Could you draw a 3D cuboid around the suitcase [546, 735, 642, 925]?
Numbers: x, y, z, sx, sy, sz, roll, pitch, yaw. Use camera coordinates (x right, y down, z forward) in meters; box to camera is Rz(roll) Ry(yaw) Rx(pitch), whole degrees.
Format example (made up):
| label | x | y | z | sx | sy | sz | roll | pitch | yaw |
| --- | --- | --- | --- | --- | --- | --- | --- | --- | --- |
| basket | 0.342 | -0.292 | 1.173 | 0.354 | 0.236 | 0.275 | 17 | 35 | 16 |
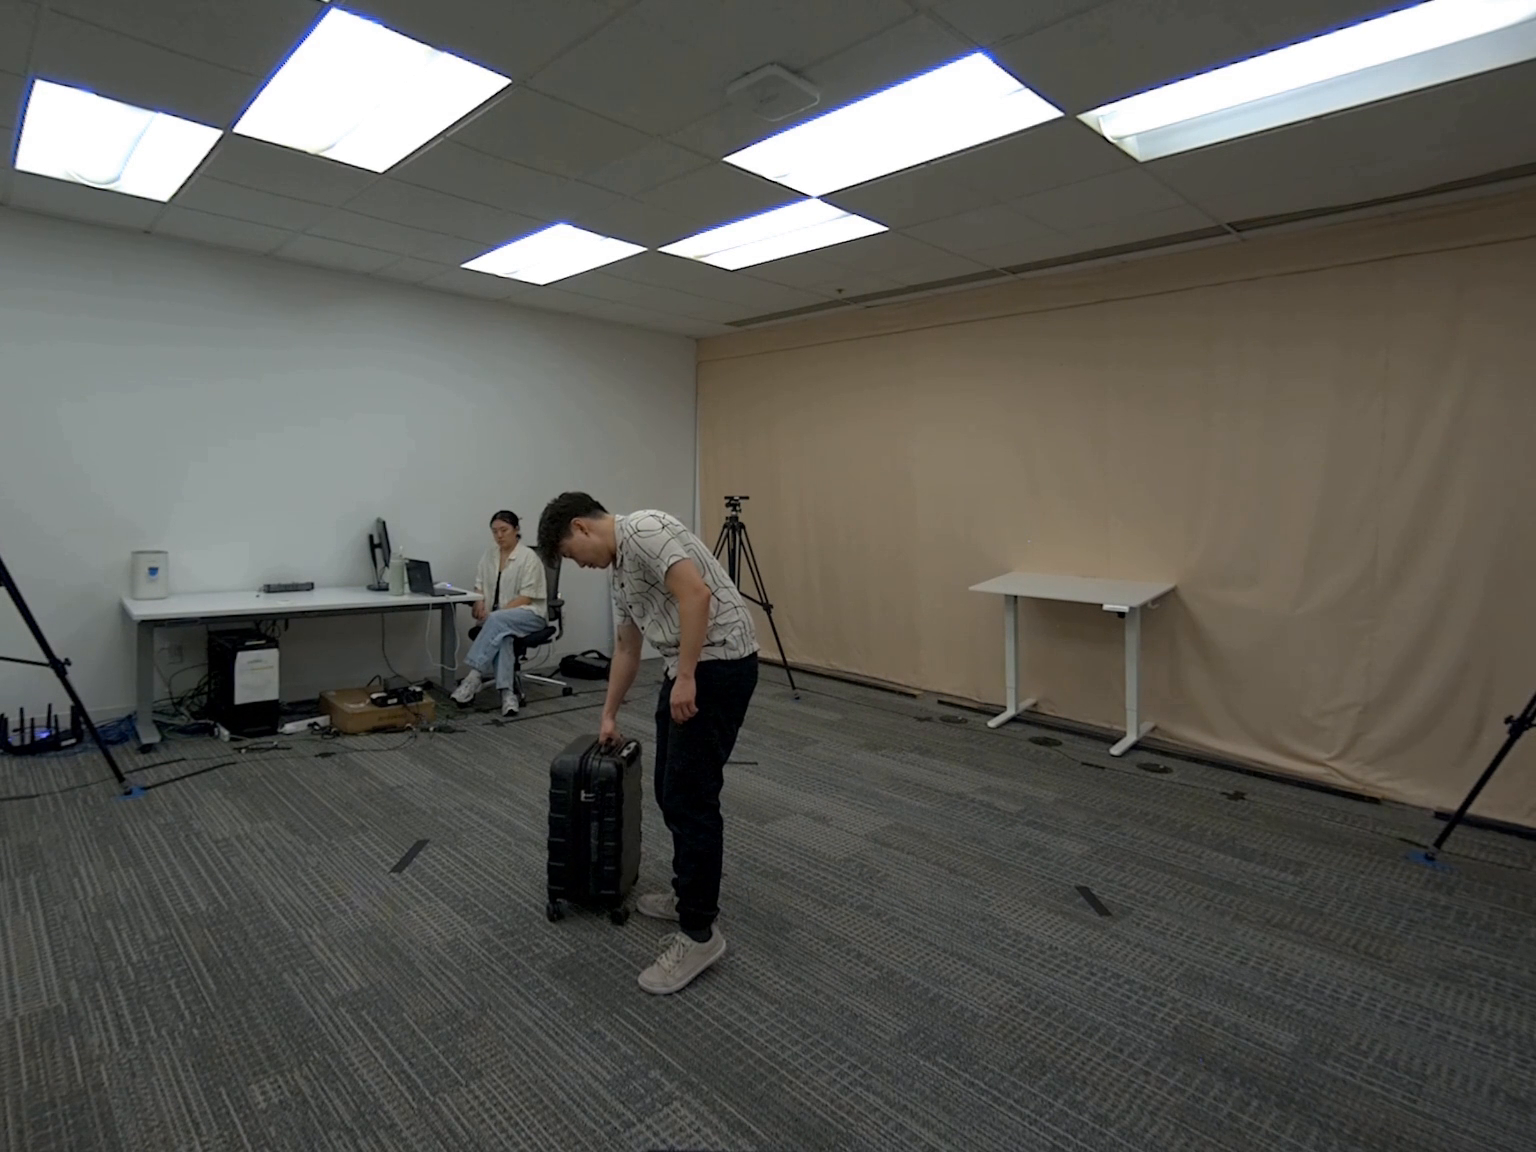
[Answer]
| label | x | y | z | sx | sy | sz | roll | pitch | yaw |
| --- | --- | --- | --- | --- | --- | --- | --- | --- | --- |
| suitcase | -0.595 | 0.837 | 2.887 | 0.249 | 0.548 | 0.375 | 2 | 4 | 4 |
